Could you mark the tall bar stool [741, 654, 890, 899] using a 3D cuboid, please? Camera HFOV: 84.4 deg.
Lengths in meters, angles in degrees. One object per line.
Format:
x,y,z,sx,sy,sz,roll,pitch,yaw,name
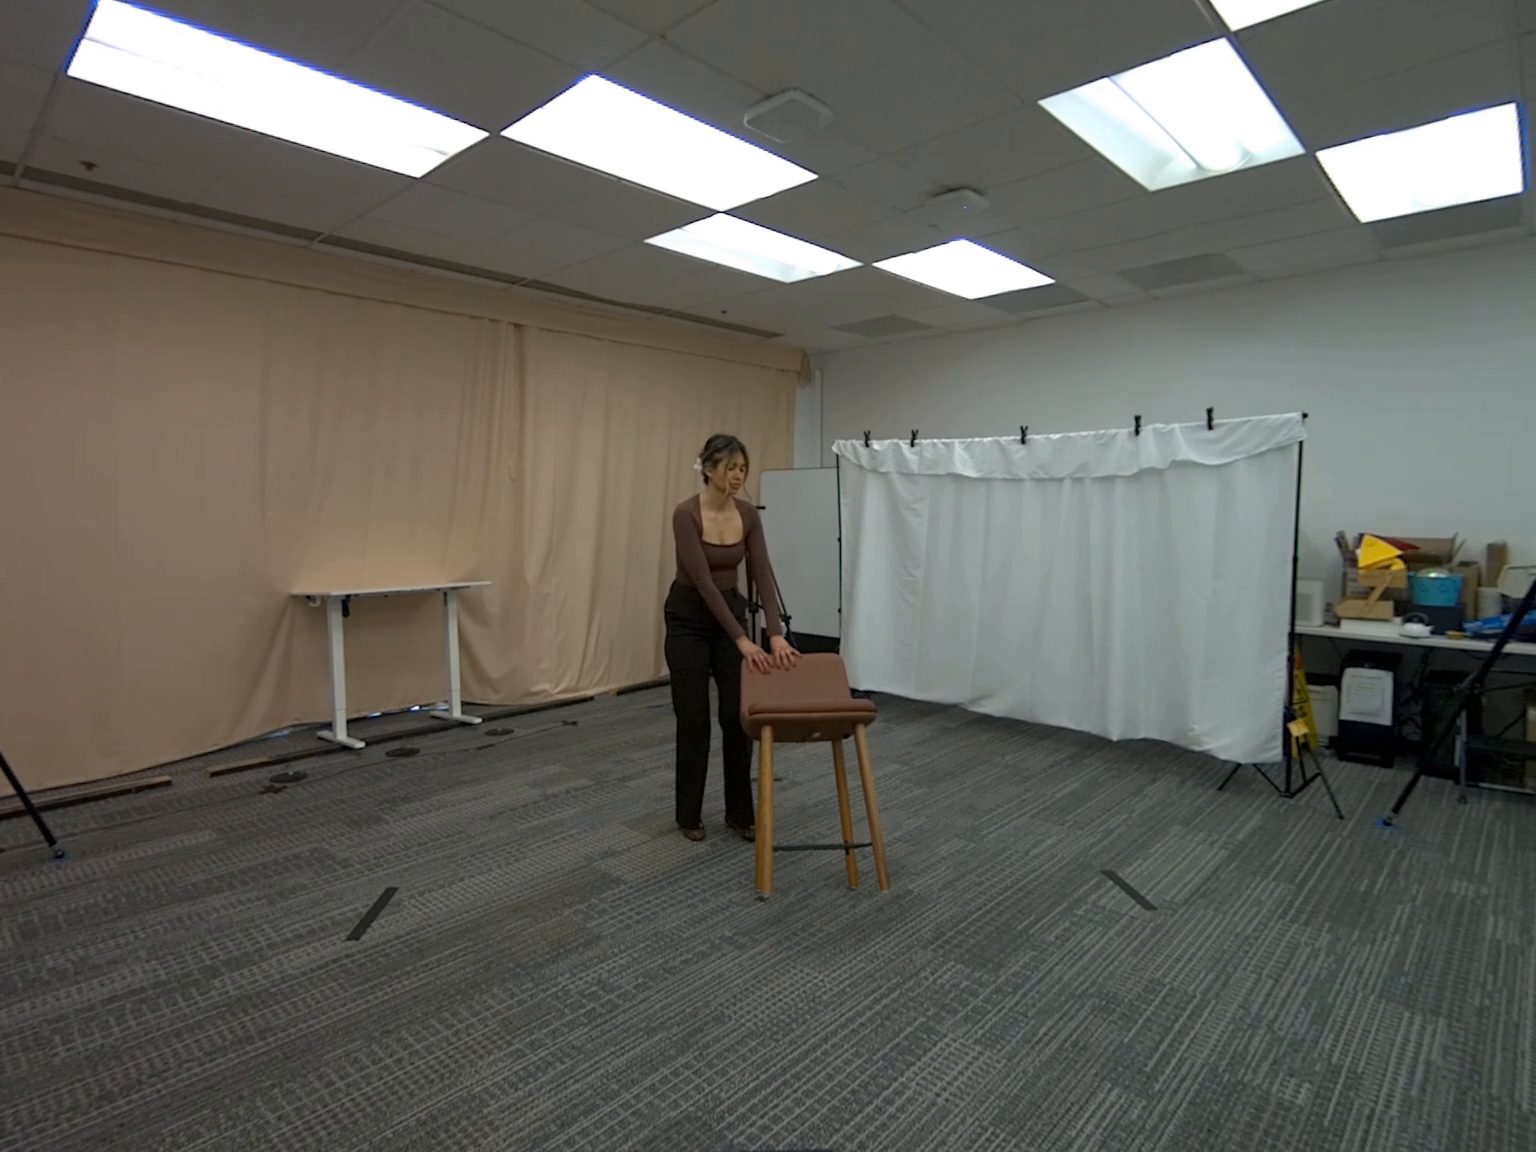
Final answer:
0.148,0.655,3.016,0.455,0.902,0.463,-1,-22,-4,tall bar stool
